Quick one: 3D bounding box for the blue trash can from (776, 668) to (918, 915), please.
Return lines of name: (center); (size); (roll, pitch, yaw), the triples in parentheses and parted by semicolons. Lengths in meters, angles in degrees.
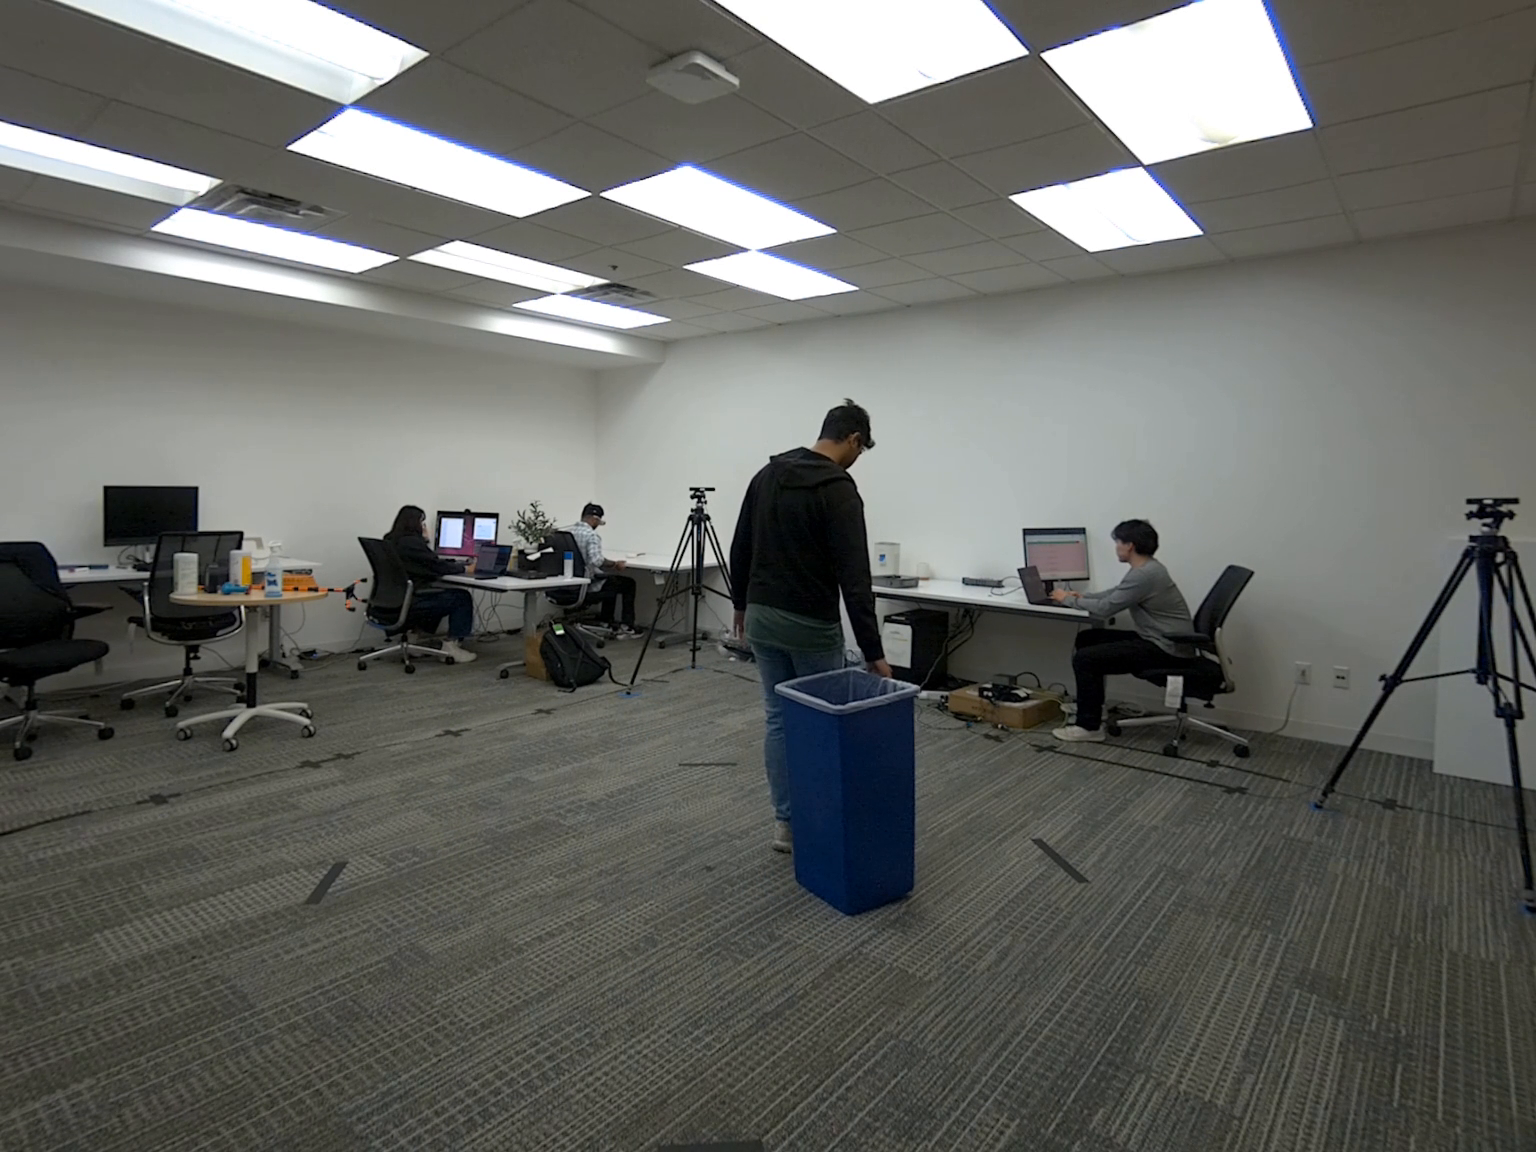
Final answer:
blue trash can: (0.268, 0.725, 2.947); (0.368, 0.709, 0.386); (-6, 7, -34)
